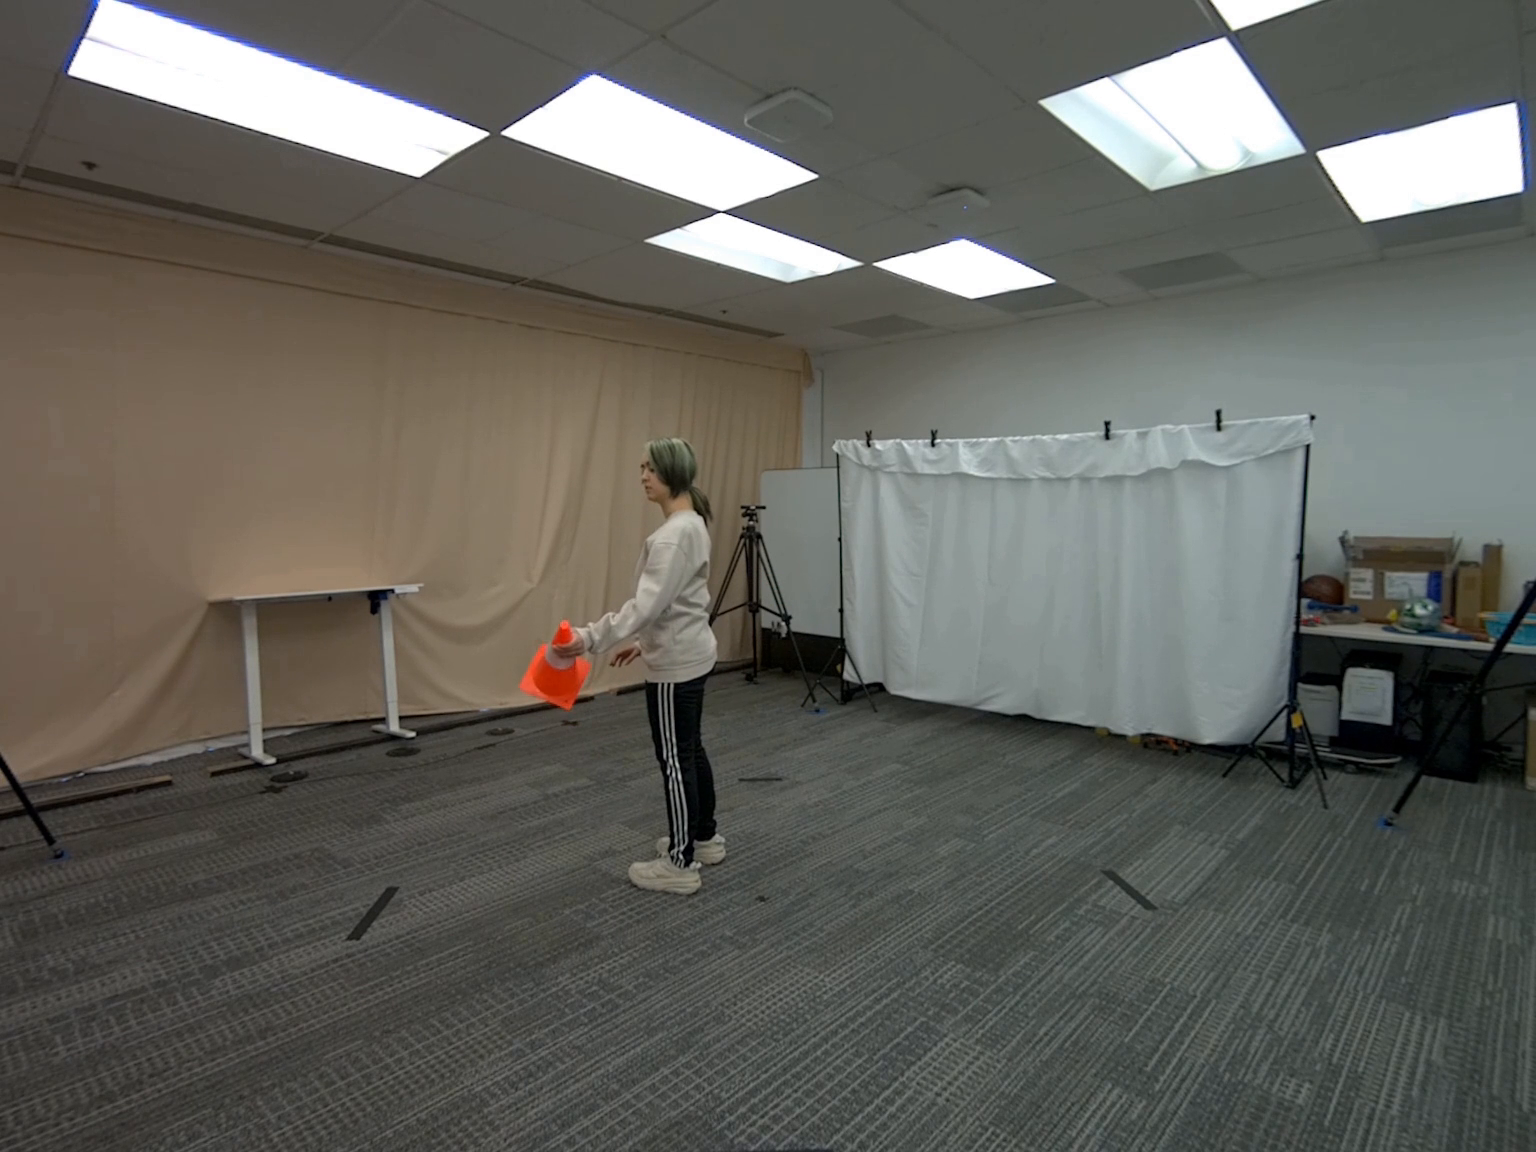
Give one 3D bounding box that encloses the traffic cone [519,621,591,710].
[{"bbox_3d":[-0.702,0.262,2.834,0.205,0.204,0.382,25,-35,-1],"label":"traffic cone"}]
